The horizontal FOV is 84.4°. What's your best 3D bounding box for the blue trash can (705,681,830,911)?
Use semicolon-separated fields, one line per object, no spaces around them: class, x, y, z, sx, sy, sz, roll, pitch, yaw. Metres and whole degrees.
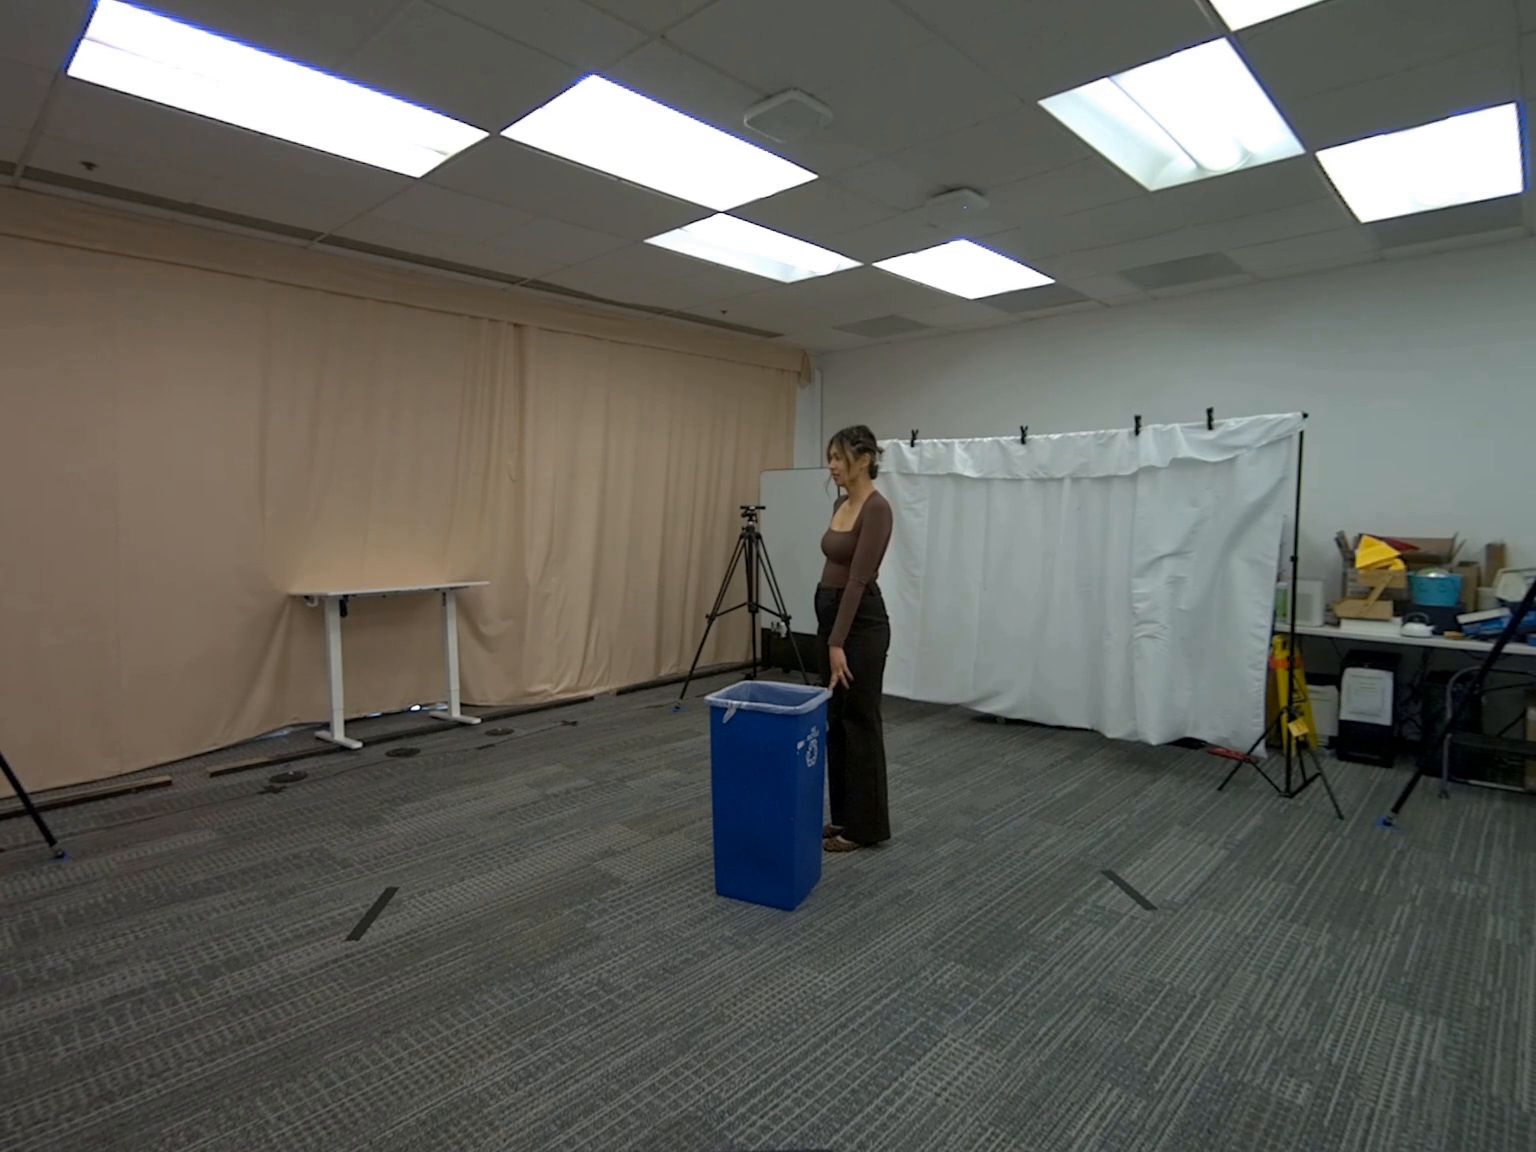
blue trash can;0.008;0.778;3.070;0.388;0.712;0.365;2;4;25
